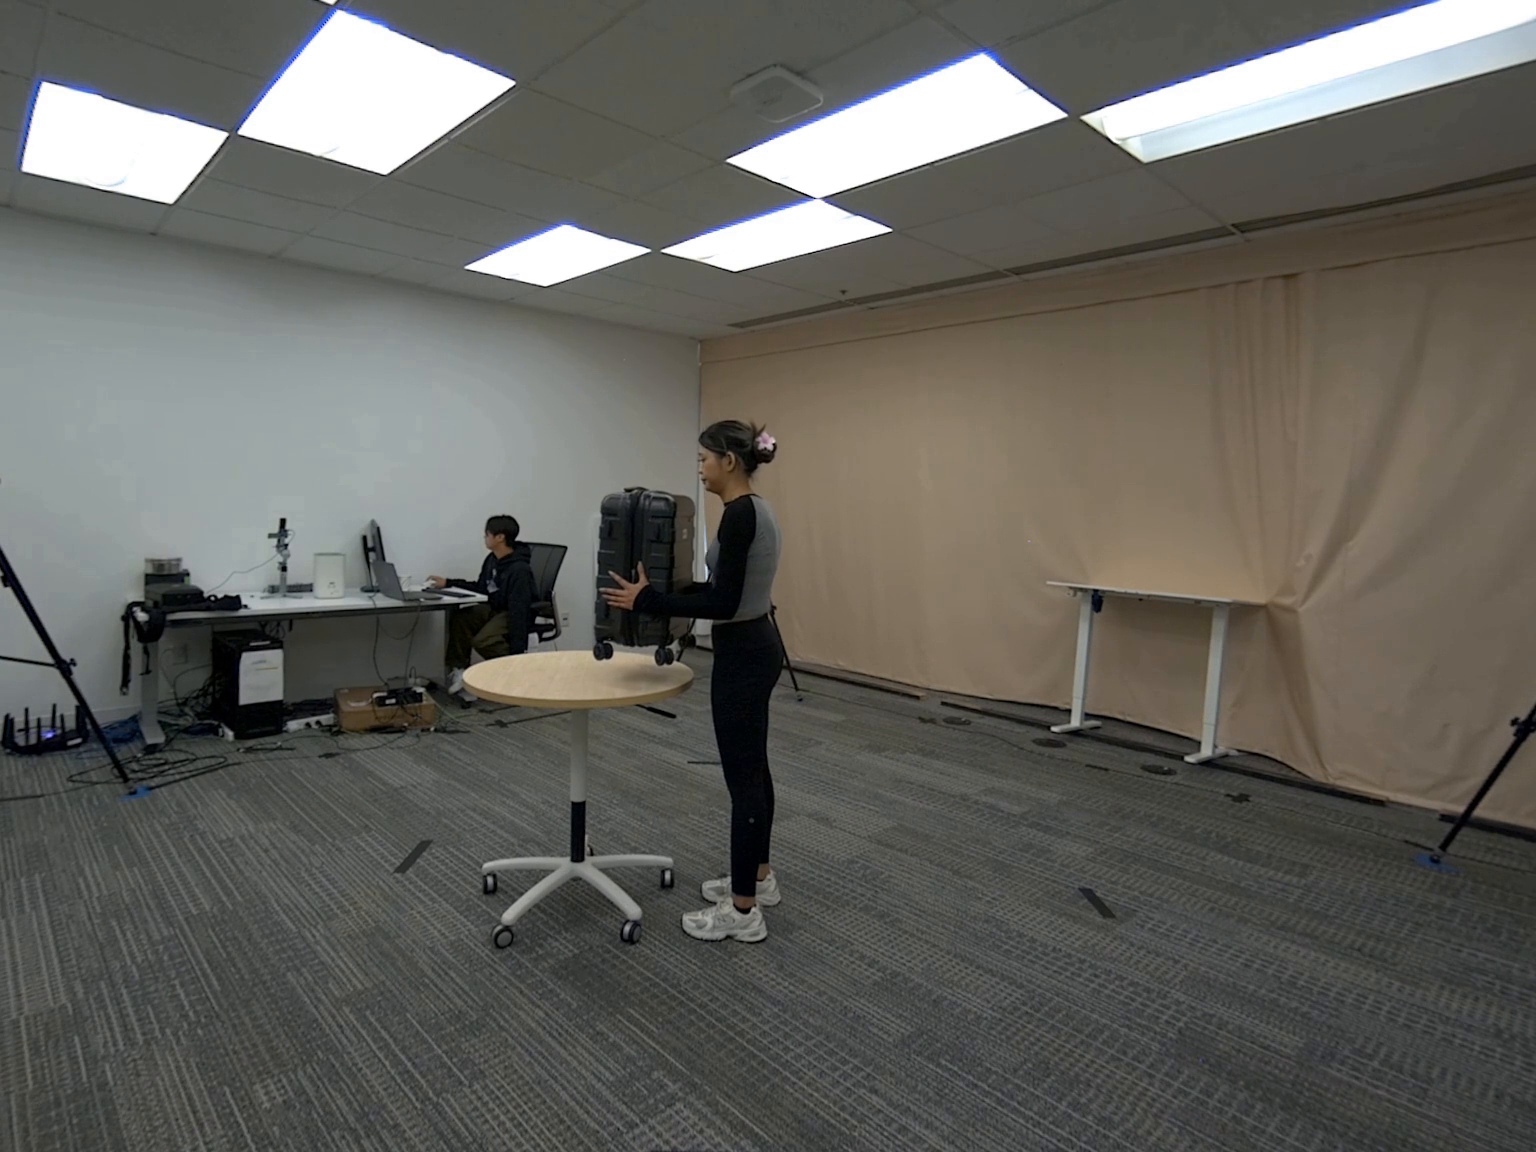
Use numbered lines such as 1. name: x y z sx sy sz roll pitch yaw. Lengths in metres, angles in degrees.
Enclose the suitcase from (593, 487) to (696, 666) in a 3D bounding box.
1. suitcase: -0.407 -0.018 2.810 0.250 0.548 0.374 3 3 6
